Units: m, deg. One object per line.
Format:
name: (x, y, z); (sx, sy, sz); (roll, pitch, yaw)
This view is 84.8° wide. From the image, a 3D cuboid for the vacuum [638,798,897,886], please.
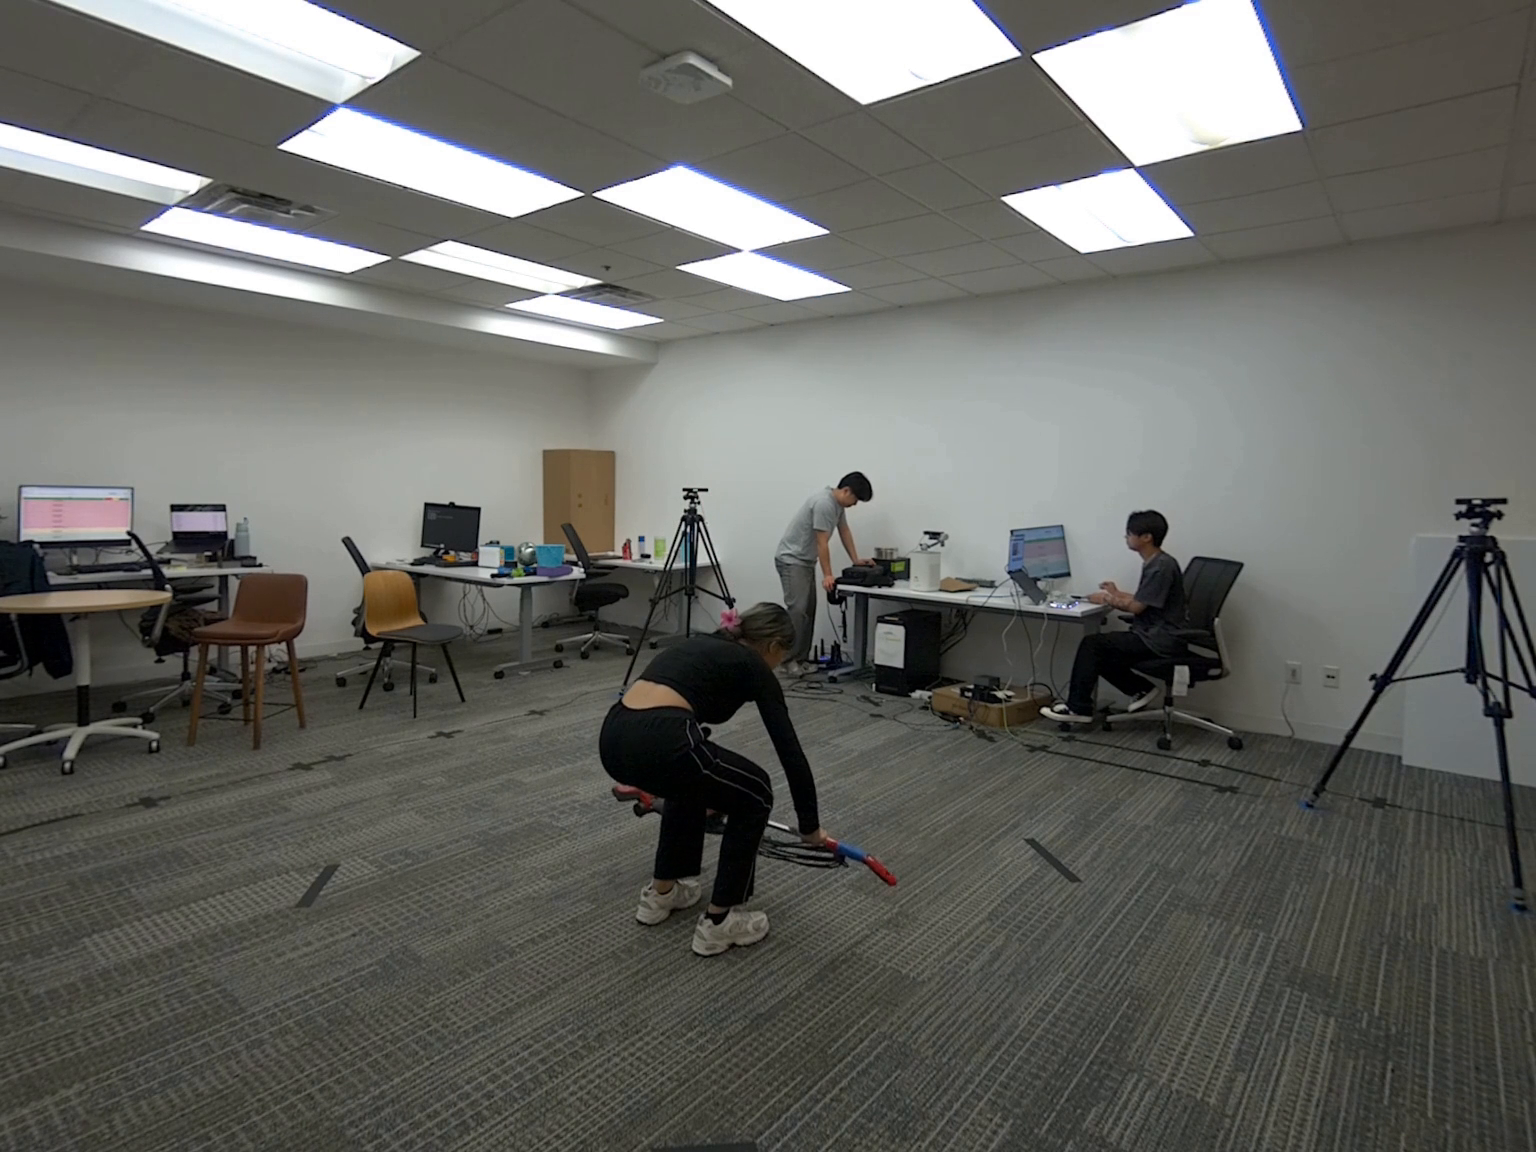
vacuum: (-0.045, 0.857, 2.881); (1.085, 0.142, 0.247); (7, 18, 37)
